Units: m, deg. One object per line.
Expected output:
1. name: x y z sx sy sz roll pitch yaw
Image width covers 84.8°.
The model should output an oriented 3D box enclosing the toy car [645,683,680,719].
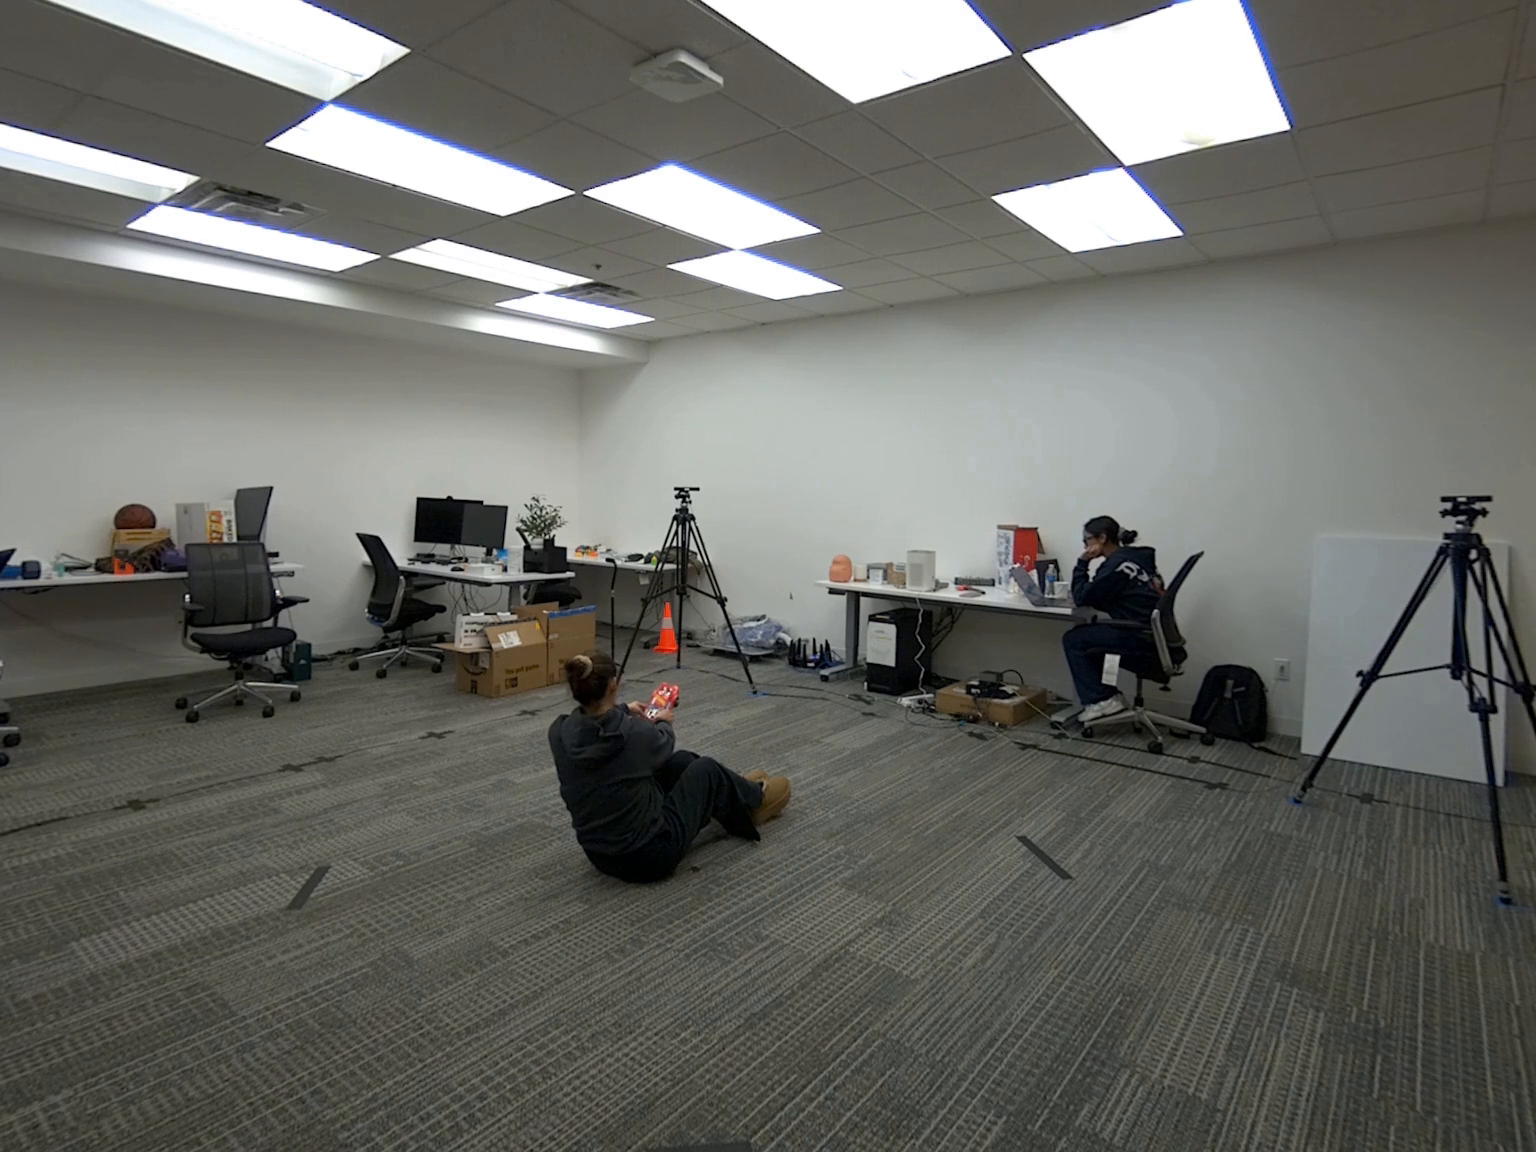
1. toy car: -0.463 0.560 3.650 0.132 0.080 0.258 6 44 13
